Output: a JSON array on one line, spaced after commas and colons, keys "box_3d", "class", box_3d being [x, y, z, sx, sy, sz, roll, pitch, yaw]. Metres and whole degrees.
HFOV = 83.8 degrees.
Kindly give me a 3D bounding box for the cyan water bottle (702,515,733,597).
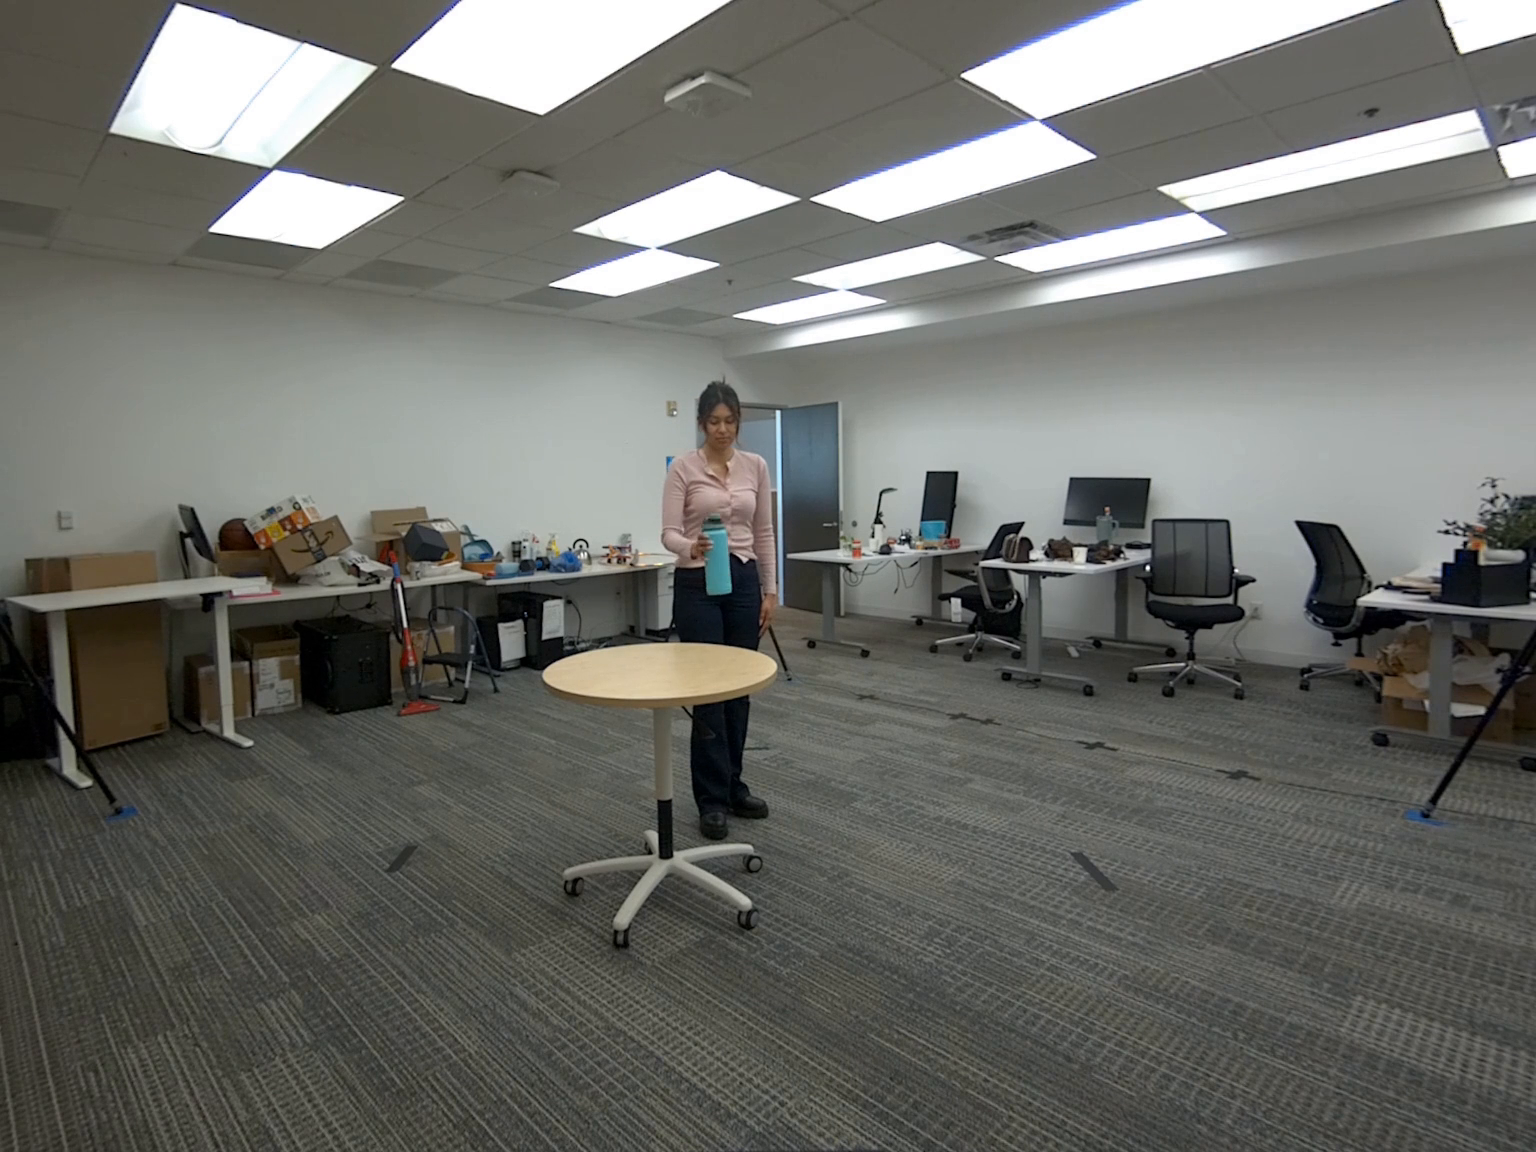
[{"box_3d": [-0.184, -0.076, 3.059, 0.092, 0.283, 0.092, -3, 2, -1], "class": "cyan water bottle"}]
